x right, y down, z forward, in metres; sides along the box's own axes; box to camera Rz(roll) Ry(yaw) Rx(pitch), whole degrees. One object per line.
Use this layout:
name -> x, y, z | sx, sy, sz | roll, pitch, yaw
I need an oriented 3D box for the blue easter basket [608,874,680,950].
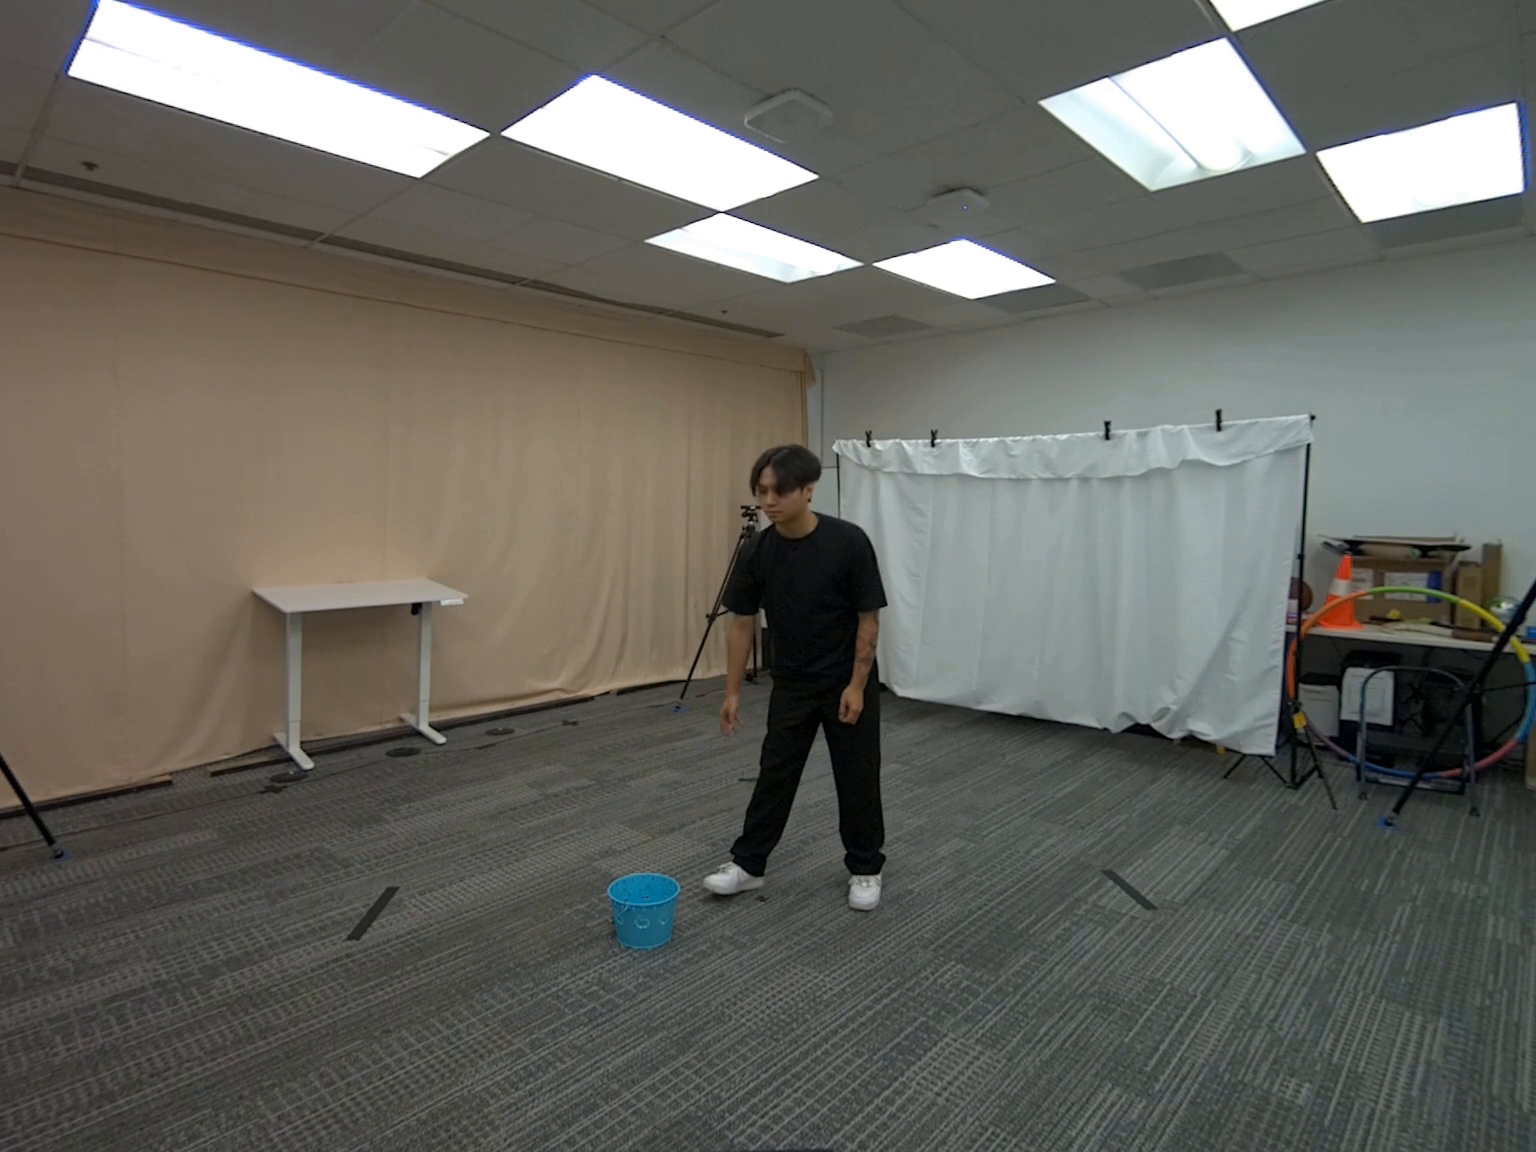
blue easter basket -> -0.405, 1.090, 2.736 | 0.243, 0.155, 0.244 | 0, 4, -2
